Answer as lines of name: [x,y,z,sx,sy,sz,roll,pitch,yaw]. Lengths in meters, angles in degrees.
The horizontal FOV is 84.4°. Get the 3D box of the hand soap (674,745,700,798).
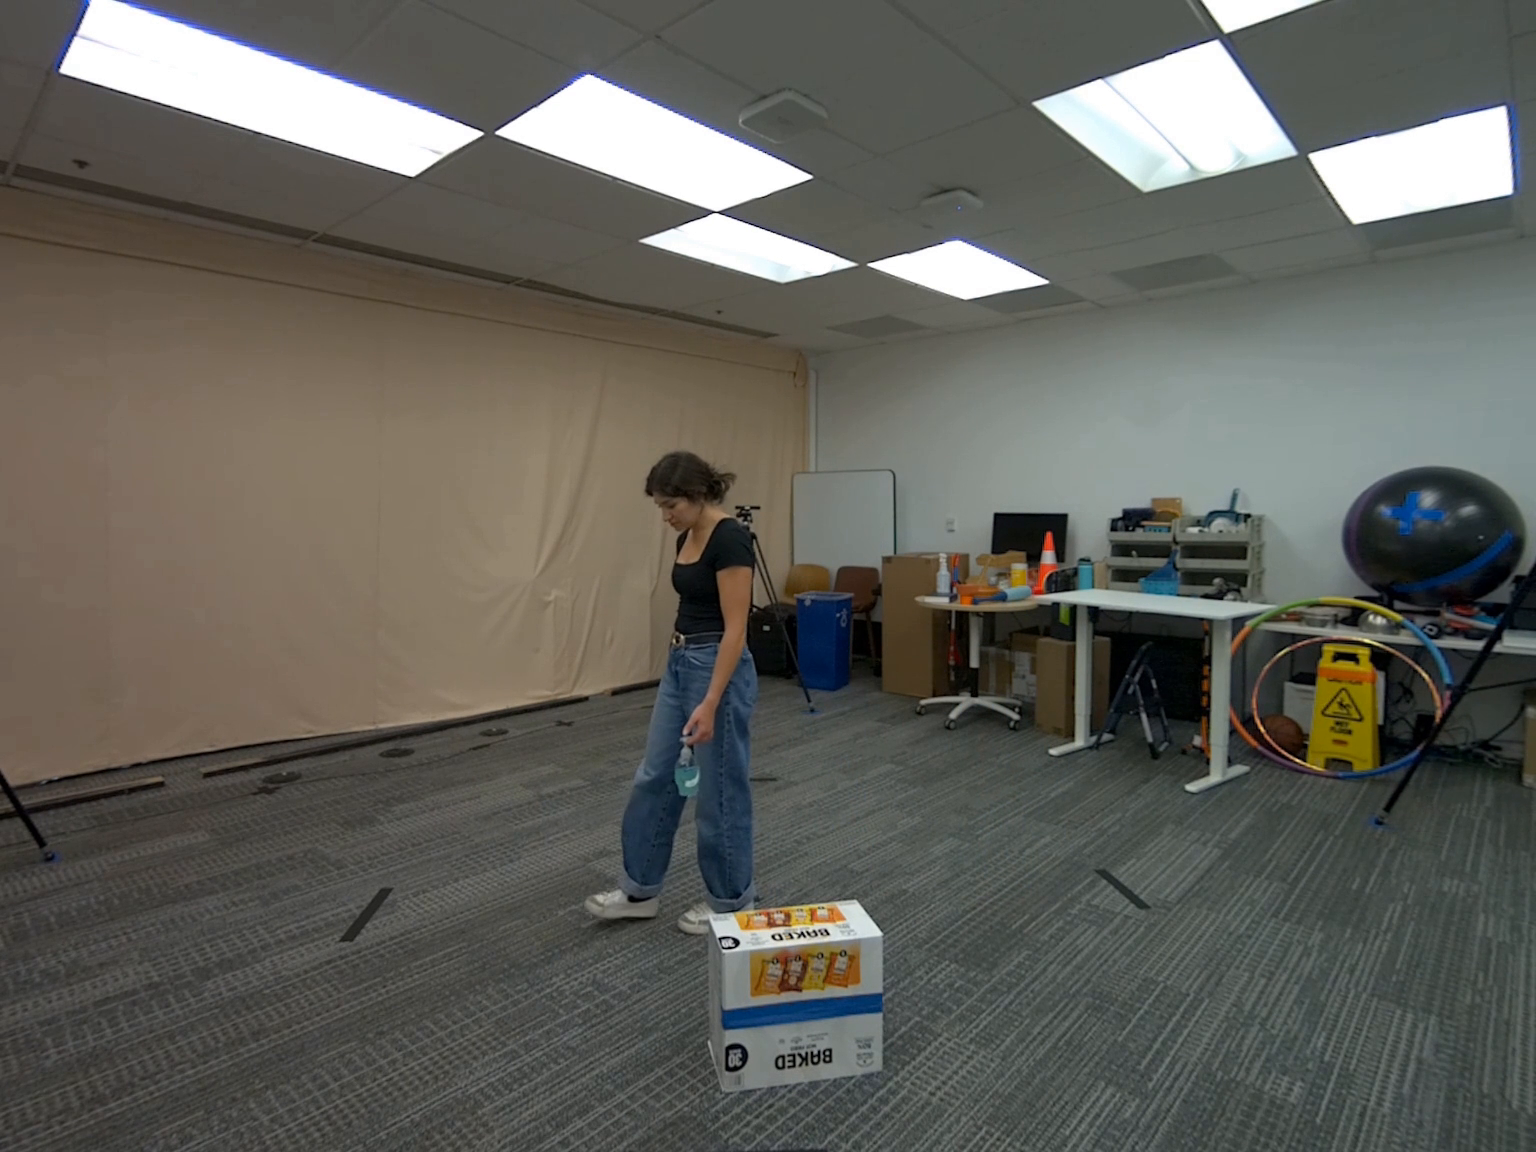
hand soap: [-0.239,0.565,2.502,0.045,0.168,0.082,0,4,40]
